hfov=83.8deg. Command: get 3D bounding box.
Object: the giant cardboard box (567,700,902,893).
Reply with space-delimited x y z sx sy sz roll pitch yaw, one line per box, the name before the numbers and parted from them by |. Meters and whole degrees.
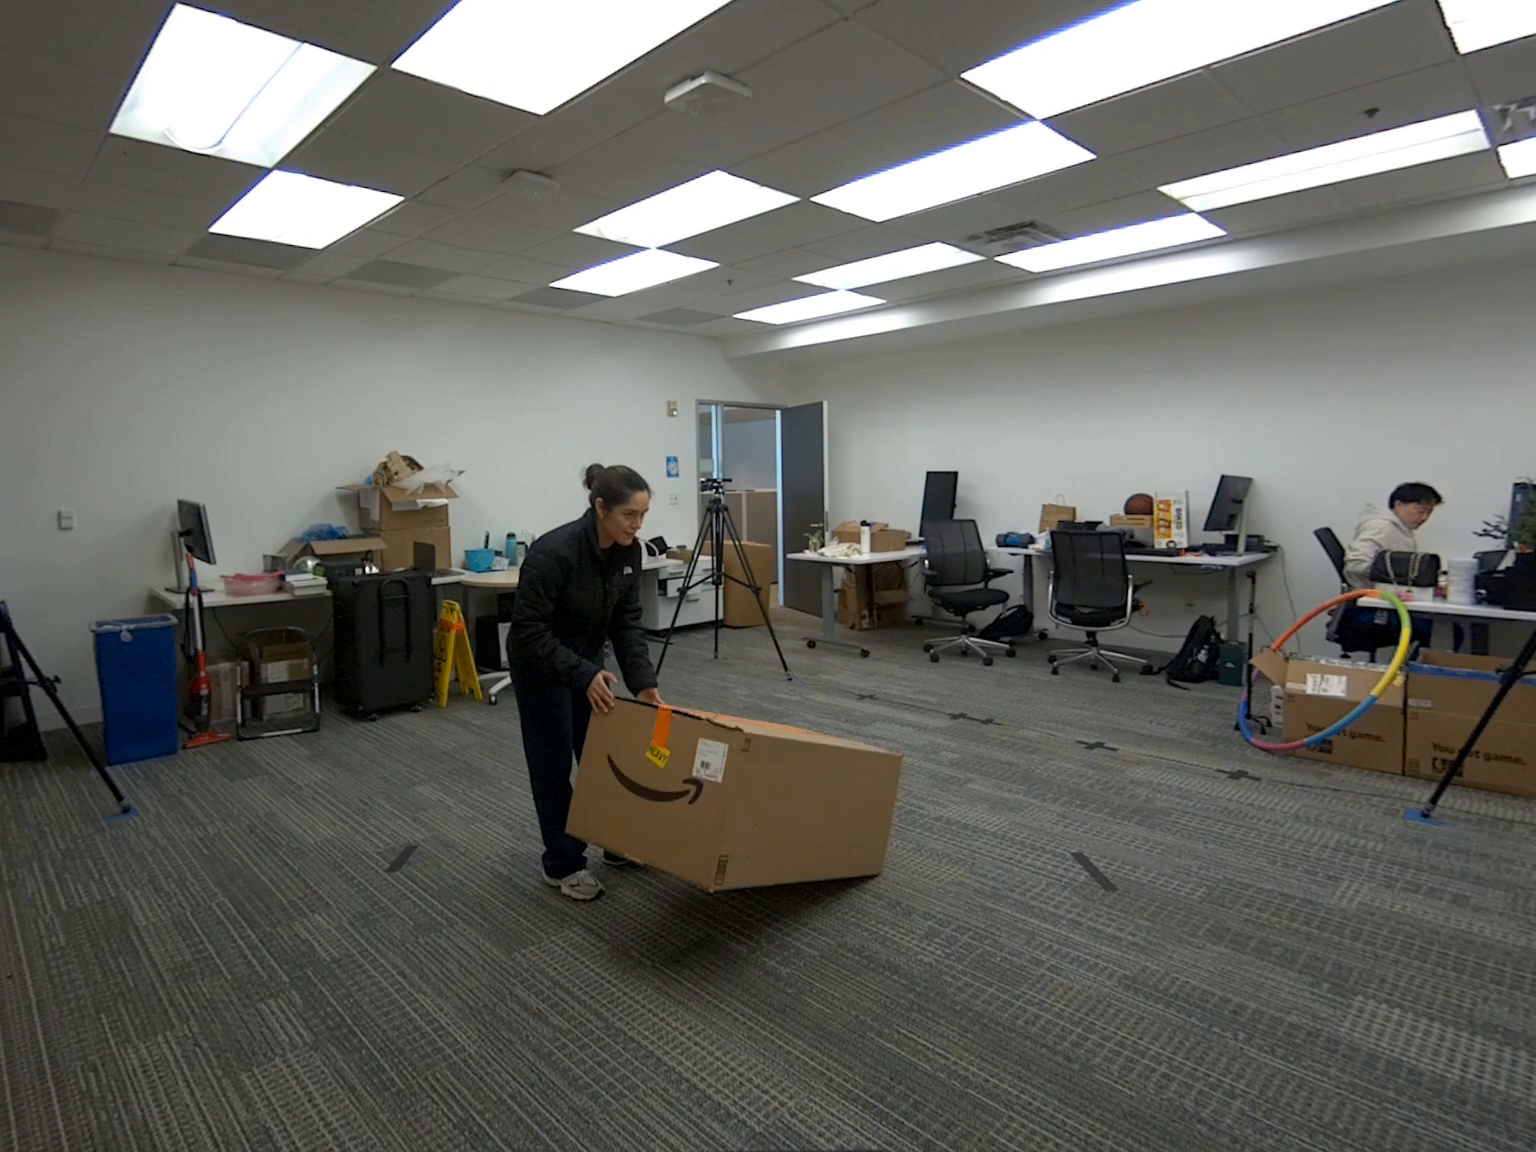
giant cardboard box | -0.062 0.704 2.838 0.595 0.429 0.989 5 -11 36
